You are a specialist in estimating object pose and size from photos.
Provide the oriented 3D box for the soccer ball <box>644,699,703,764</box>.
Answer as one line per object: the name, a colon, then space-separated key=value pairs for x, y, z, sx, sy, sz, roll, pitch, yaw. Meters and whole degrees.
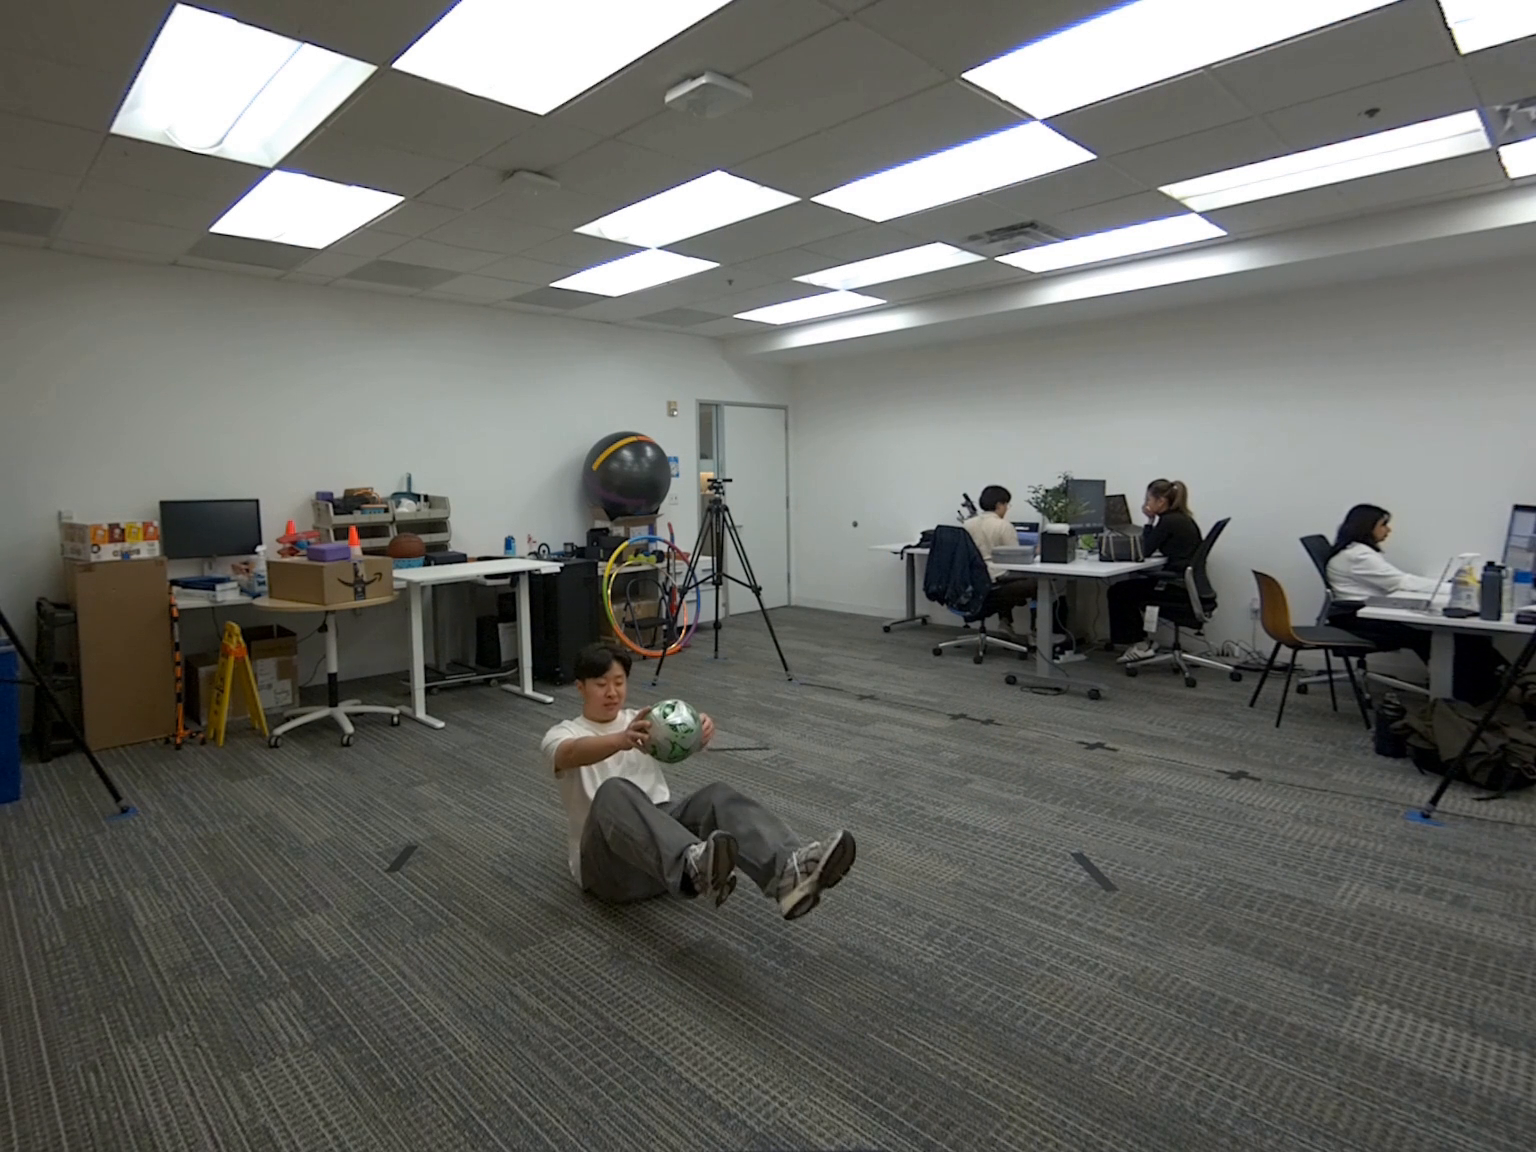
soccer ball: x=-0.272 y=0.464 z=2.557 sx=0.187 sy=0.187 sz=0.188 roll=-1 pitch=5 yaw=-2
